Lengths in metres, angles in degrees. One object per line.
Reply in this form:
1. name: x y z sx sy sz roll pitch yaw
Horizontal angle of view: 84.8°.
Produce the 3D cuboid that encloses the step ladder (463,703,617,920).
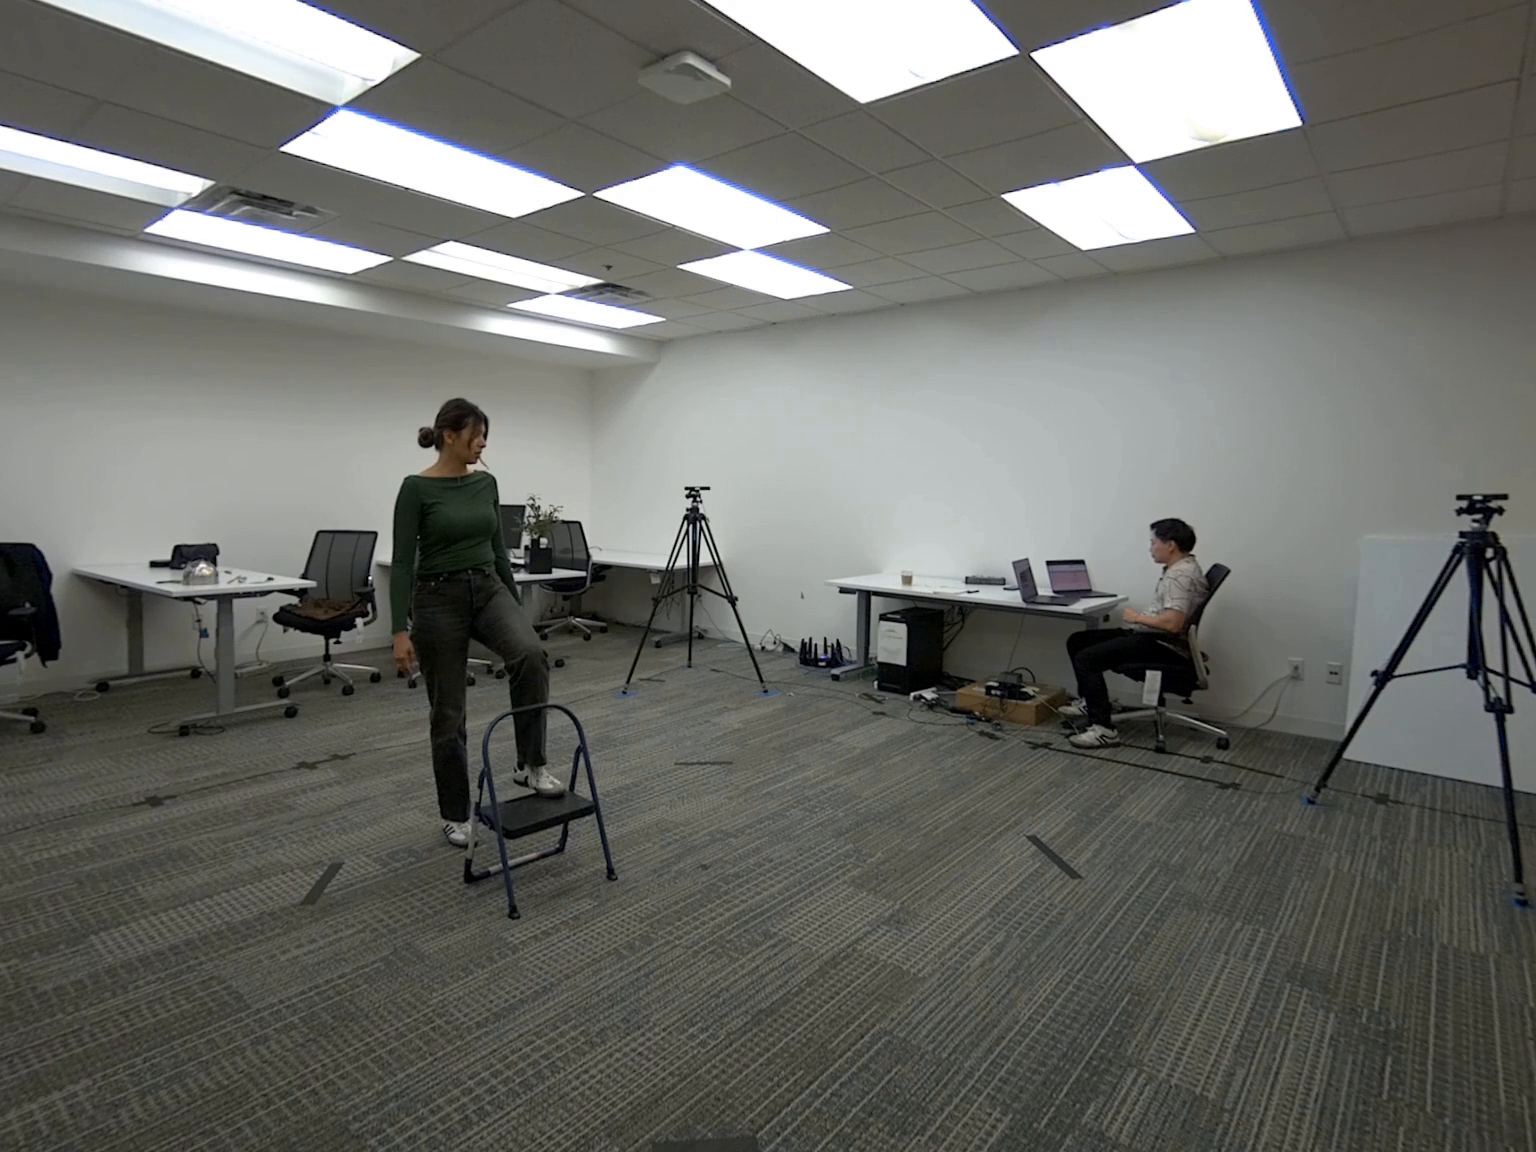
1. step ladder: -0.805 0.768 2.973 0.361 0.604 0.417 4 4 43
